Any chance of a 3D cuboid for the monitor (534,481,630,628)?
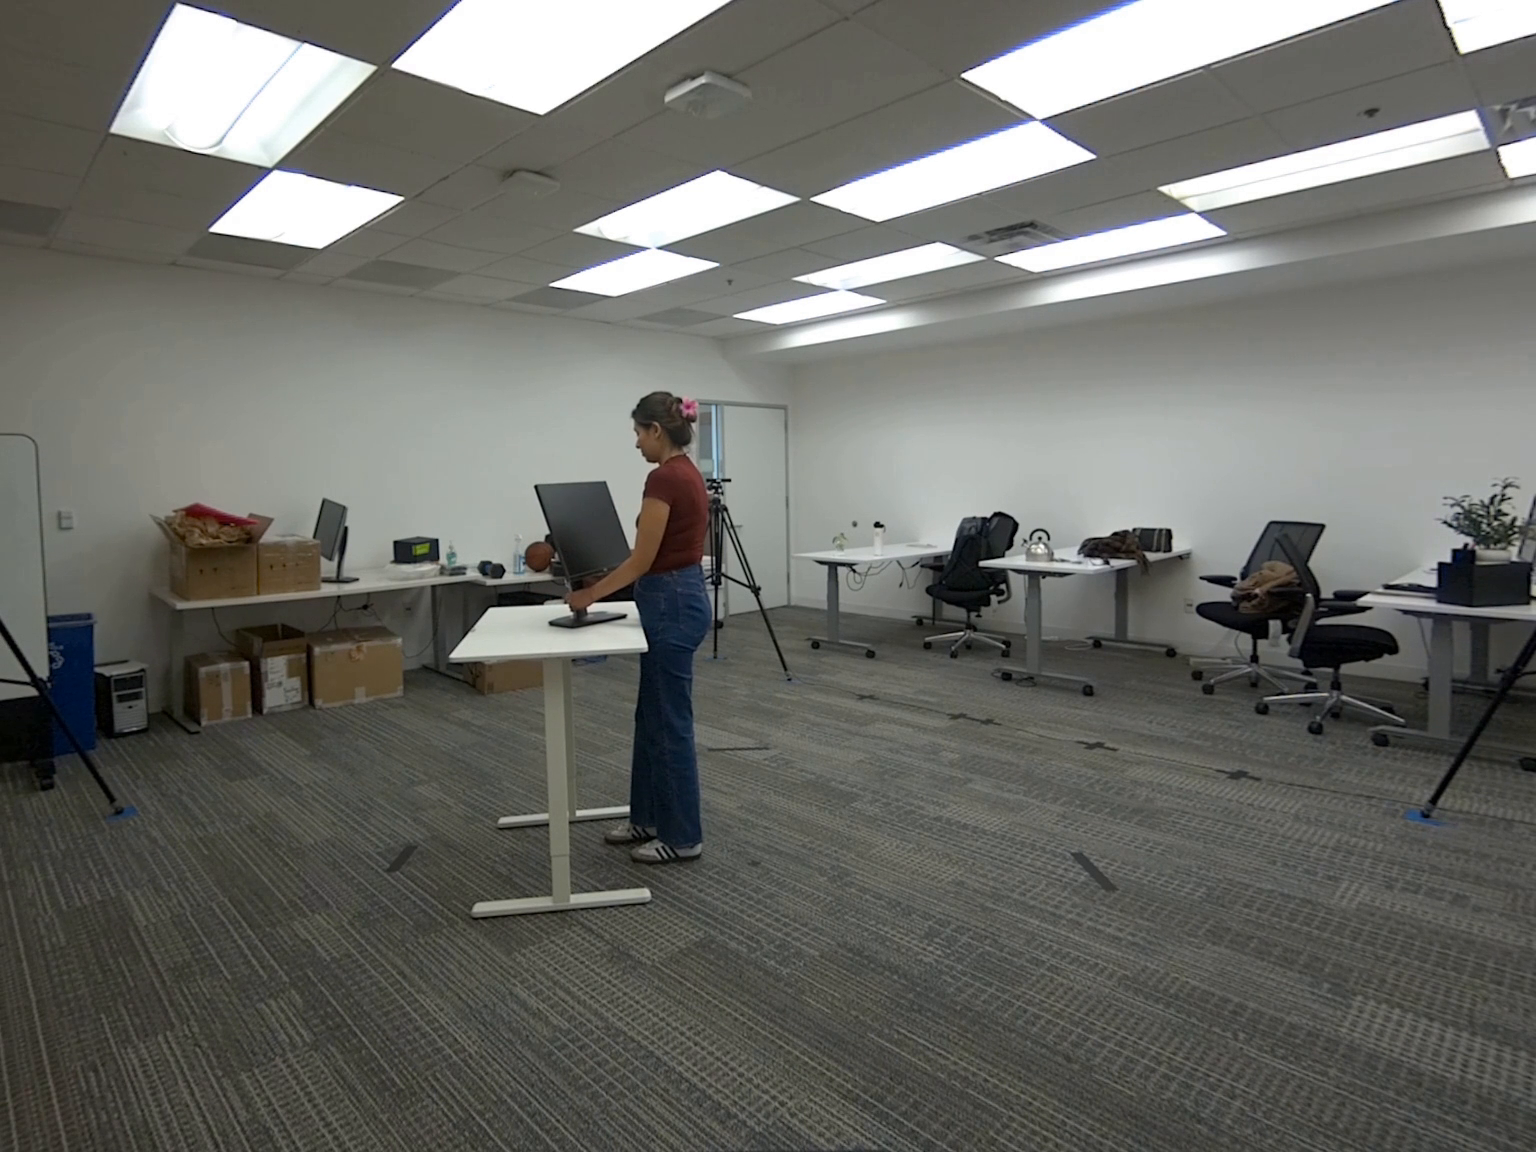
[{"bbox_3d":[-0.689,-0.088,3.176,0.190,0.521,0.533,-3,4,14],"label":"monitor"}]
